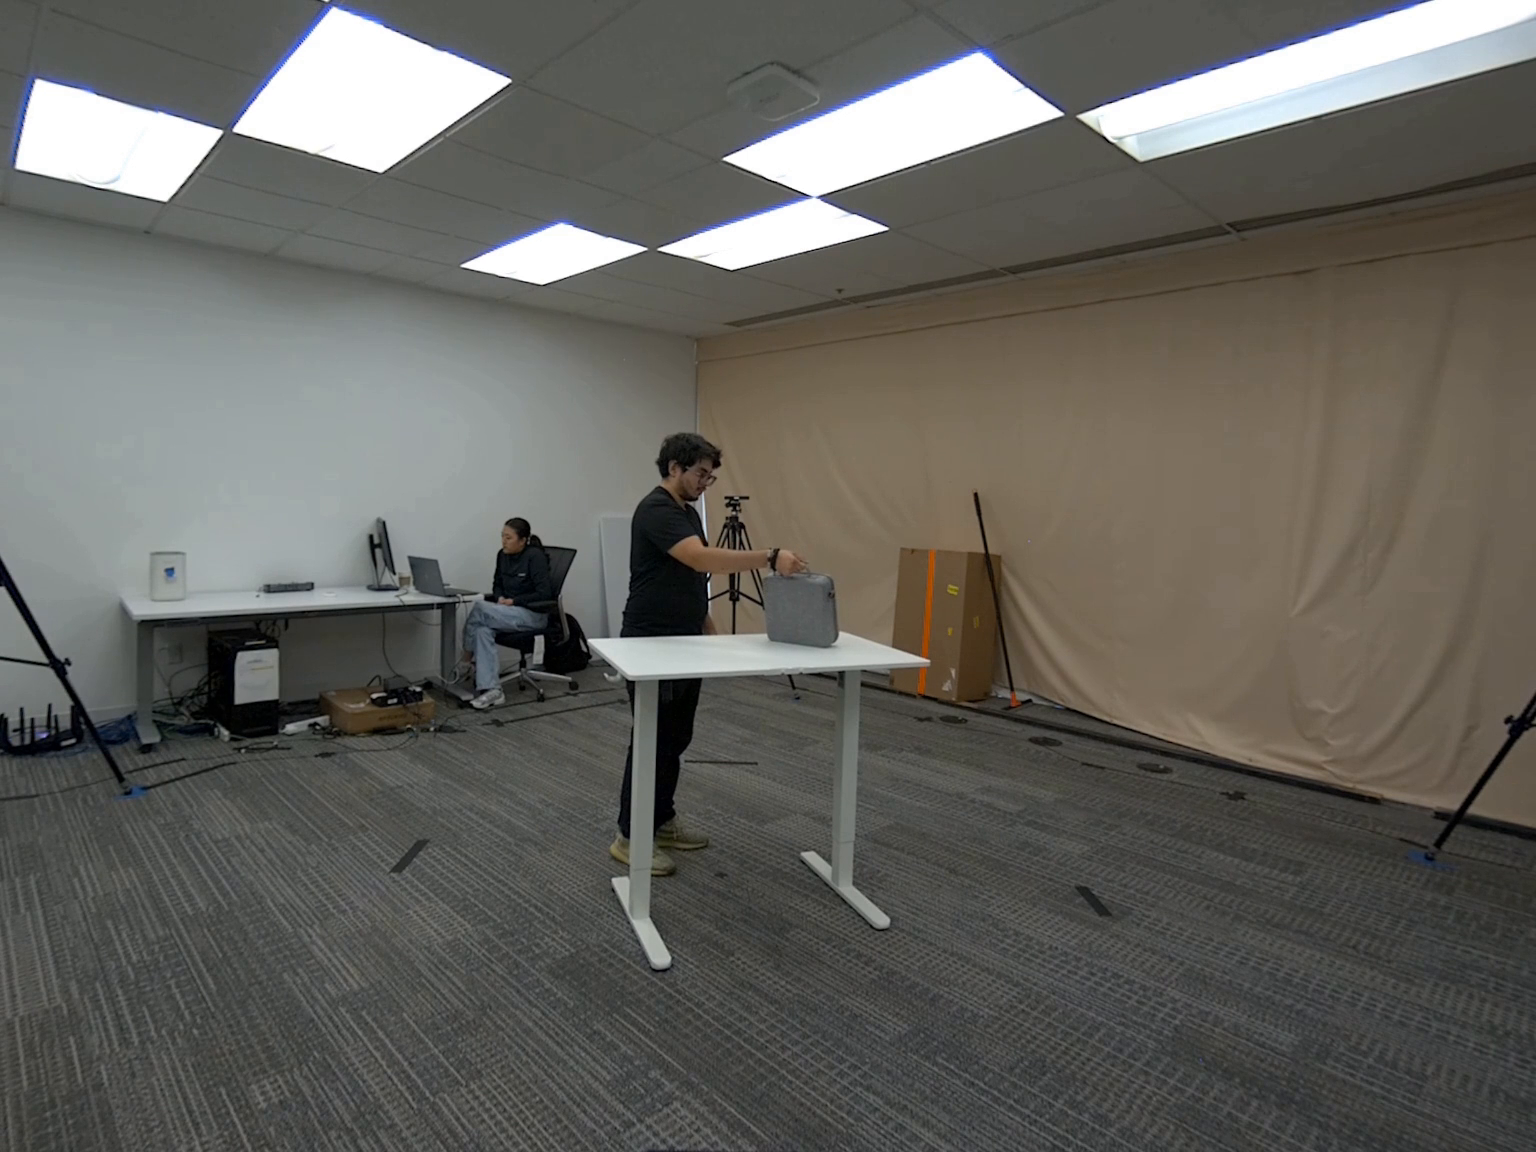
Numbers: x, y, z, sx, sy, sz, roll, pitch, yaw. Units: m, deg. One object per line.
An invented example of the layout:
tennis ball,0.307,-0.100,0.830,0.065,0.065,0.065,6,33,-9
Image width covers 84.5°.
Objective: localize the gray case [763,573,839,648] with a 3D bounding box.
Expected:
gray case,0.110,0.110,2.960,0.262,0.258,0.103,3,15,30
